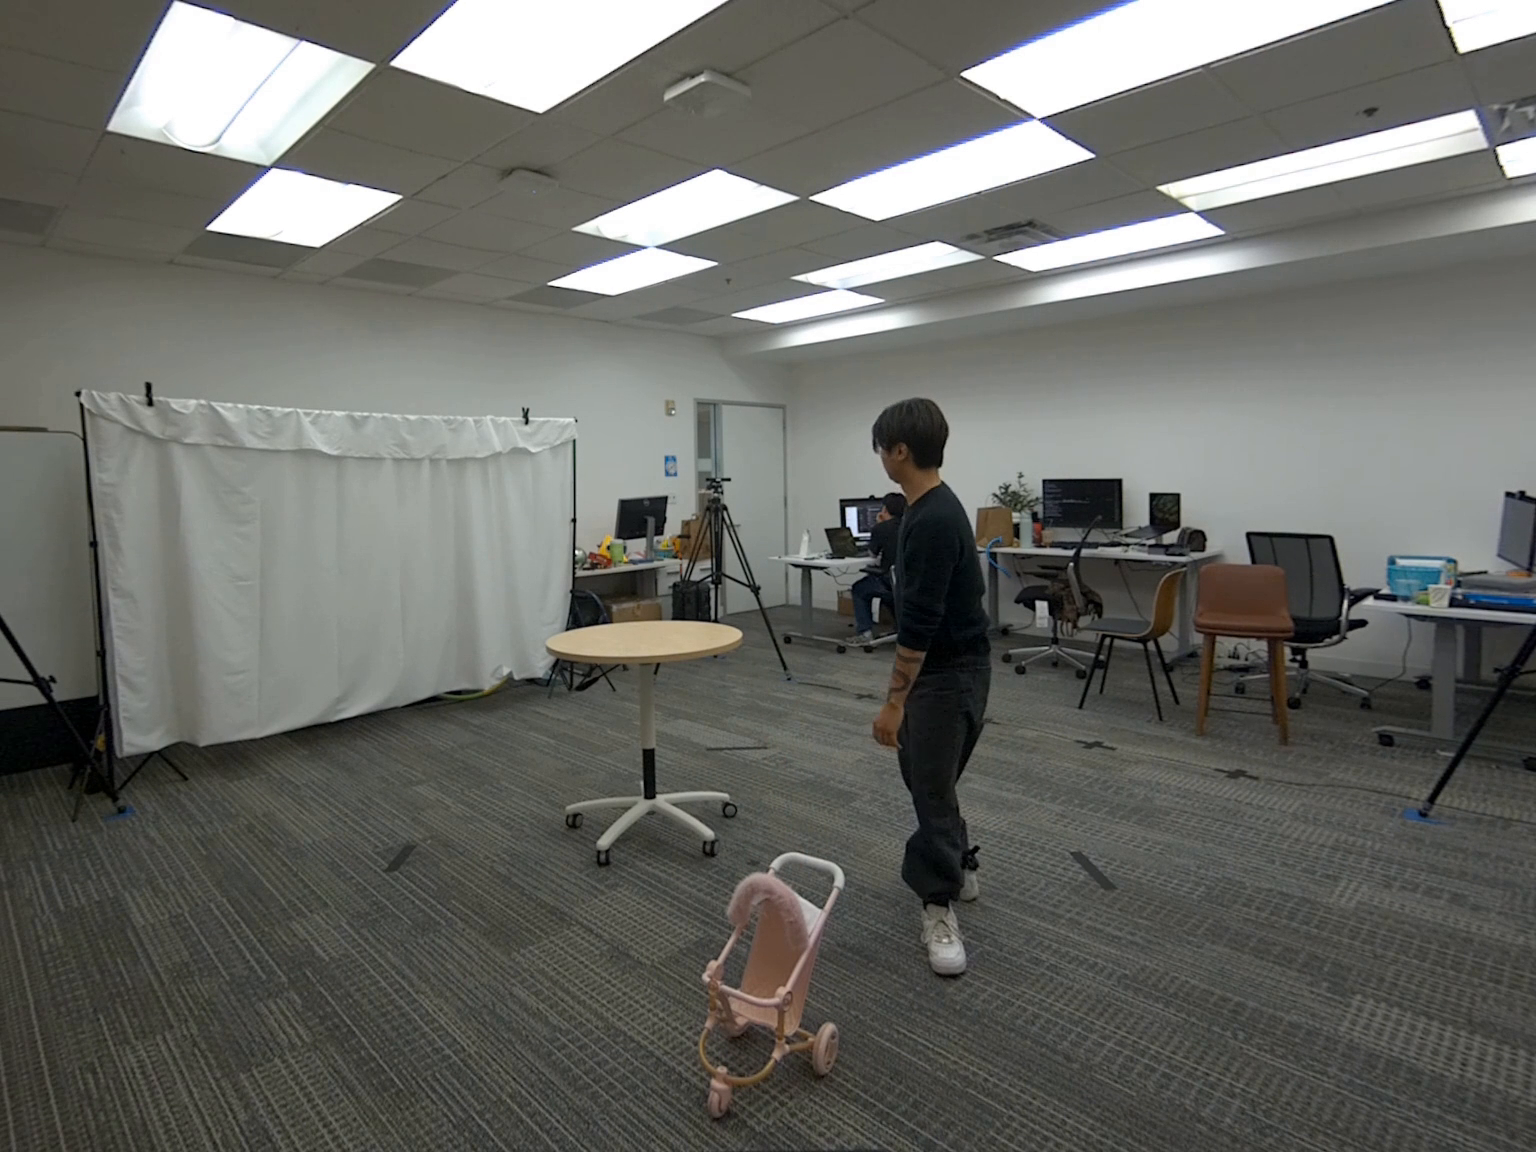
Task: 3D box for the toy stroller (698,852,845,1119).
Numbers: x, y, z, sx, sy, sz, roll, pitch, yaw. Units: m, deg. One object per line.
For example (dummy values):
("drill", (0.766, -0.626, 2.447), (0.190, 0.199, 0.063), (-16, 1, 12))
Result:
("toy stroller", (0.000, 0.948, 2.018), (0.290, 0.539, 0.329), (2, -11, 38))
